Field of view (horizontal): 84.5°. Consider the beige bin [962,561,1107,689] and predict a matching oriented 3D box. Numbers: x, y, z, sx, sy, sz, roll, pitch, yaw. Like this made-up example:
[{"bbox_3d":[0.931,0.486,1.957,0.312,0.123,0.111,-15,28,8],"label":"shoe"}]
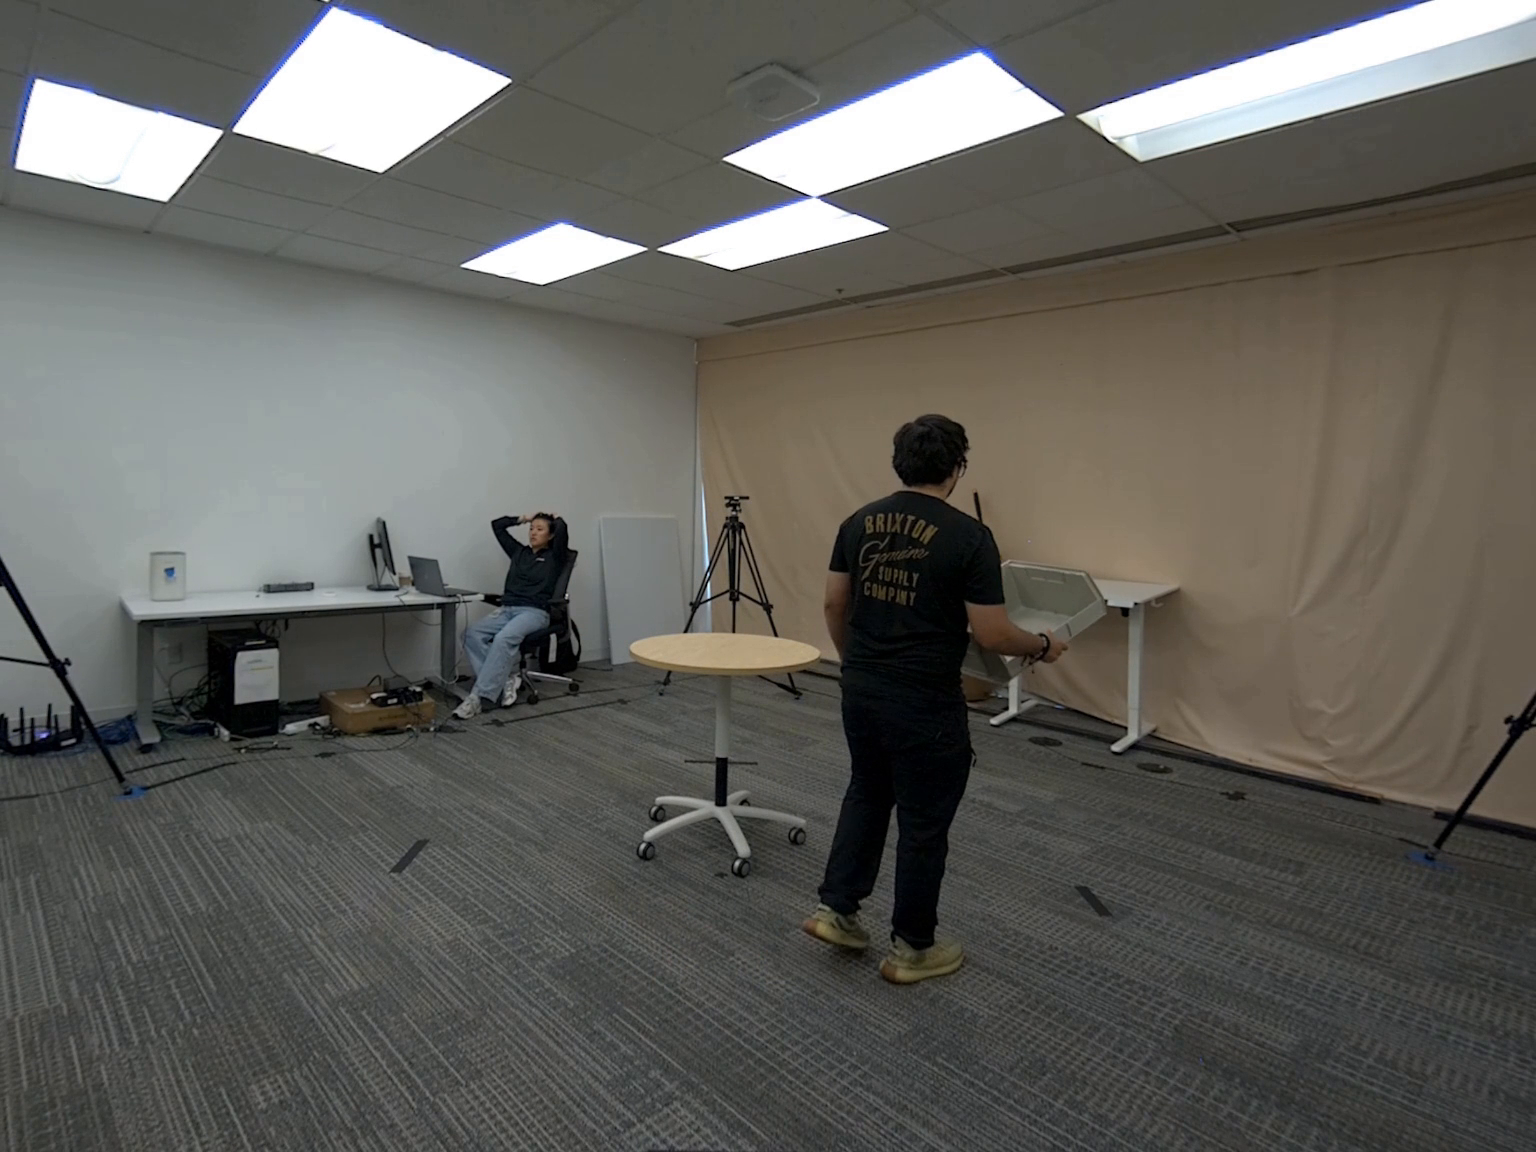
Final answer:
[{"bbox_3d":[0.763,0.140,2.669,0.419,0.186,0.385,-30,16,-20],"label":"beige bin"}]
